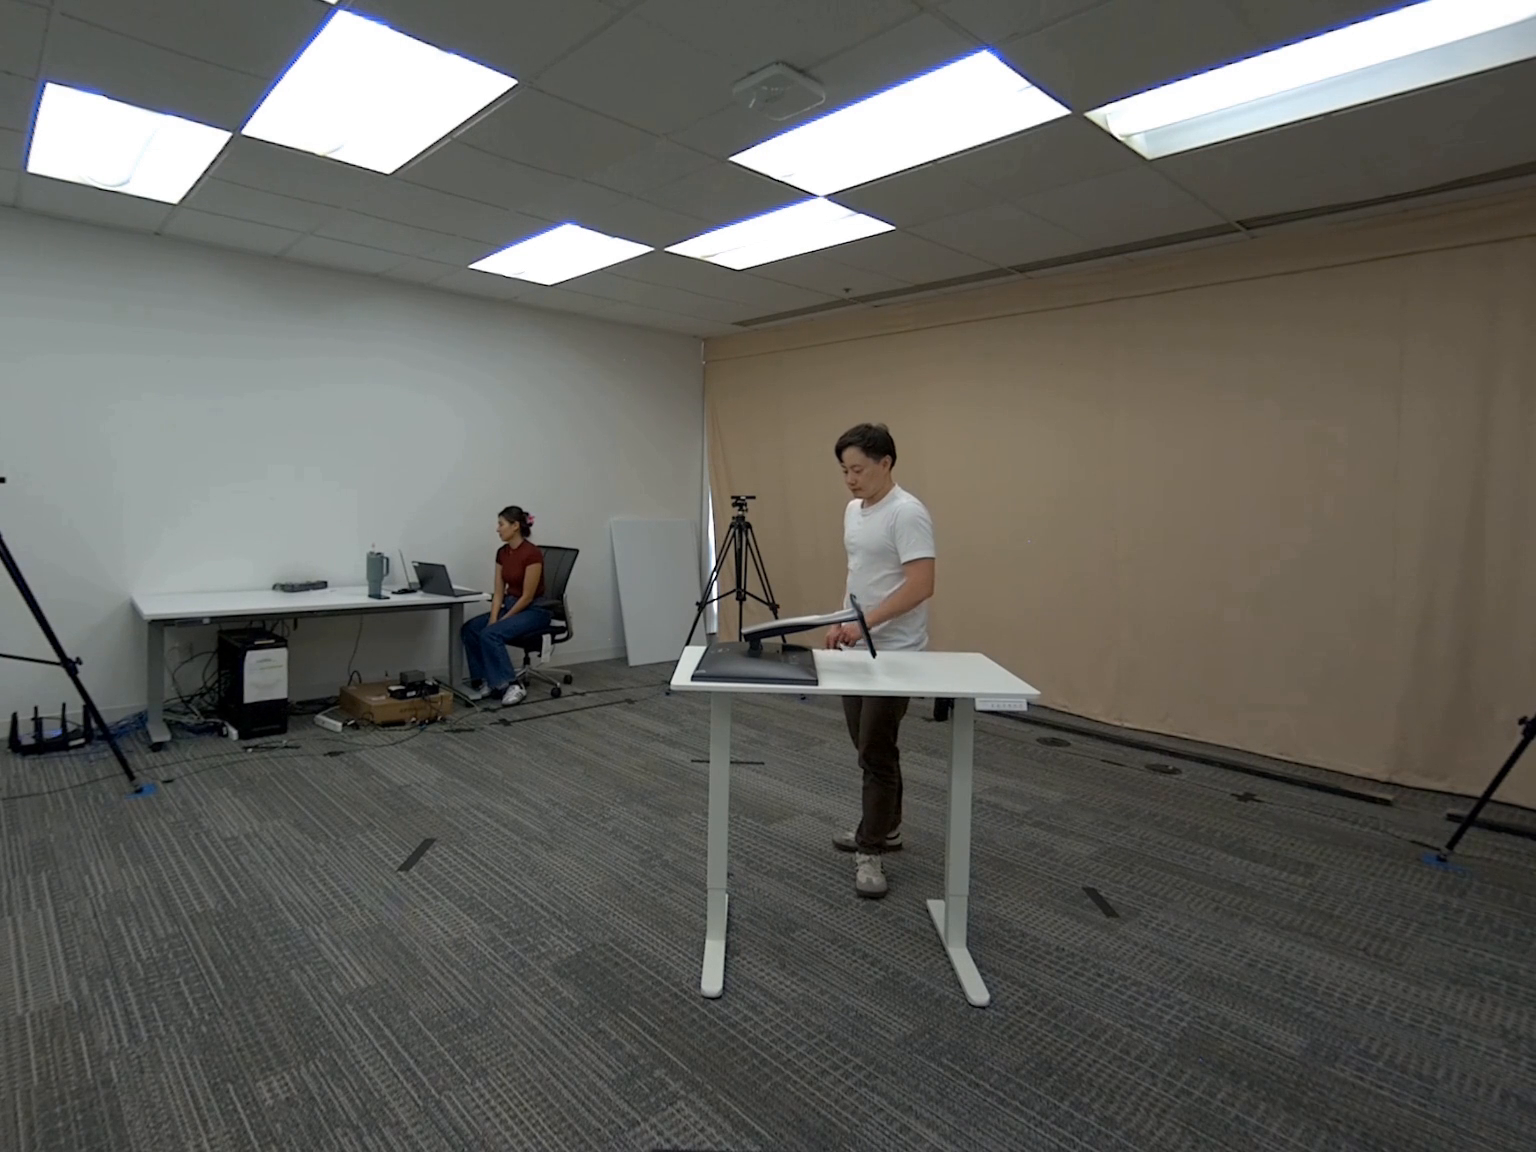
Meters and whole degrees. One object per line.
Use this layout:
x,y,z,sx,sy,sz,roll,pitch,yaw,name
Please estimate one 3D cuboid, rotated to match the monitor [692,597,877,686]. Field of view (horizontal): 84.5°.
0.041,0.216,2.551,0.524,0.187,0.539,-16,3,3,monitor
